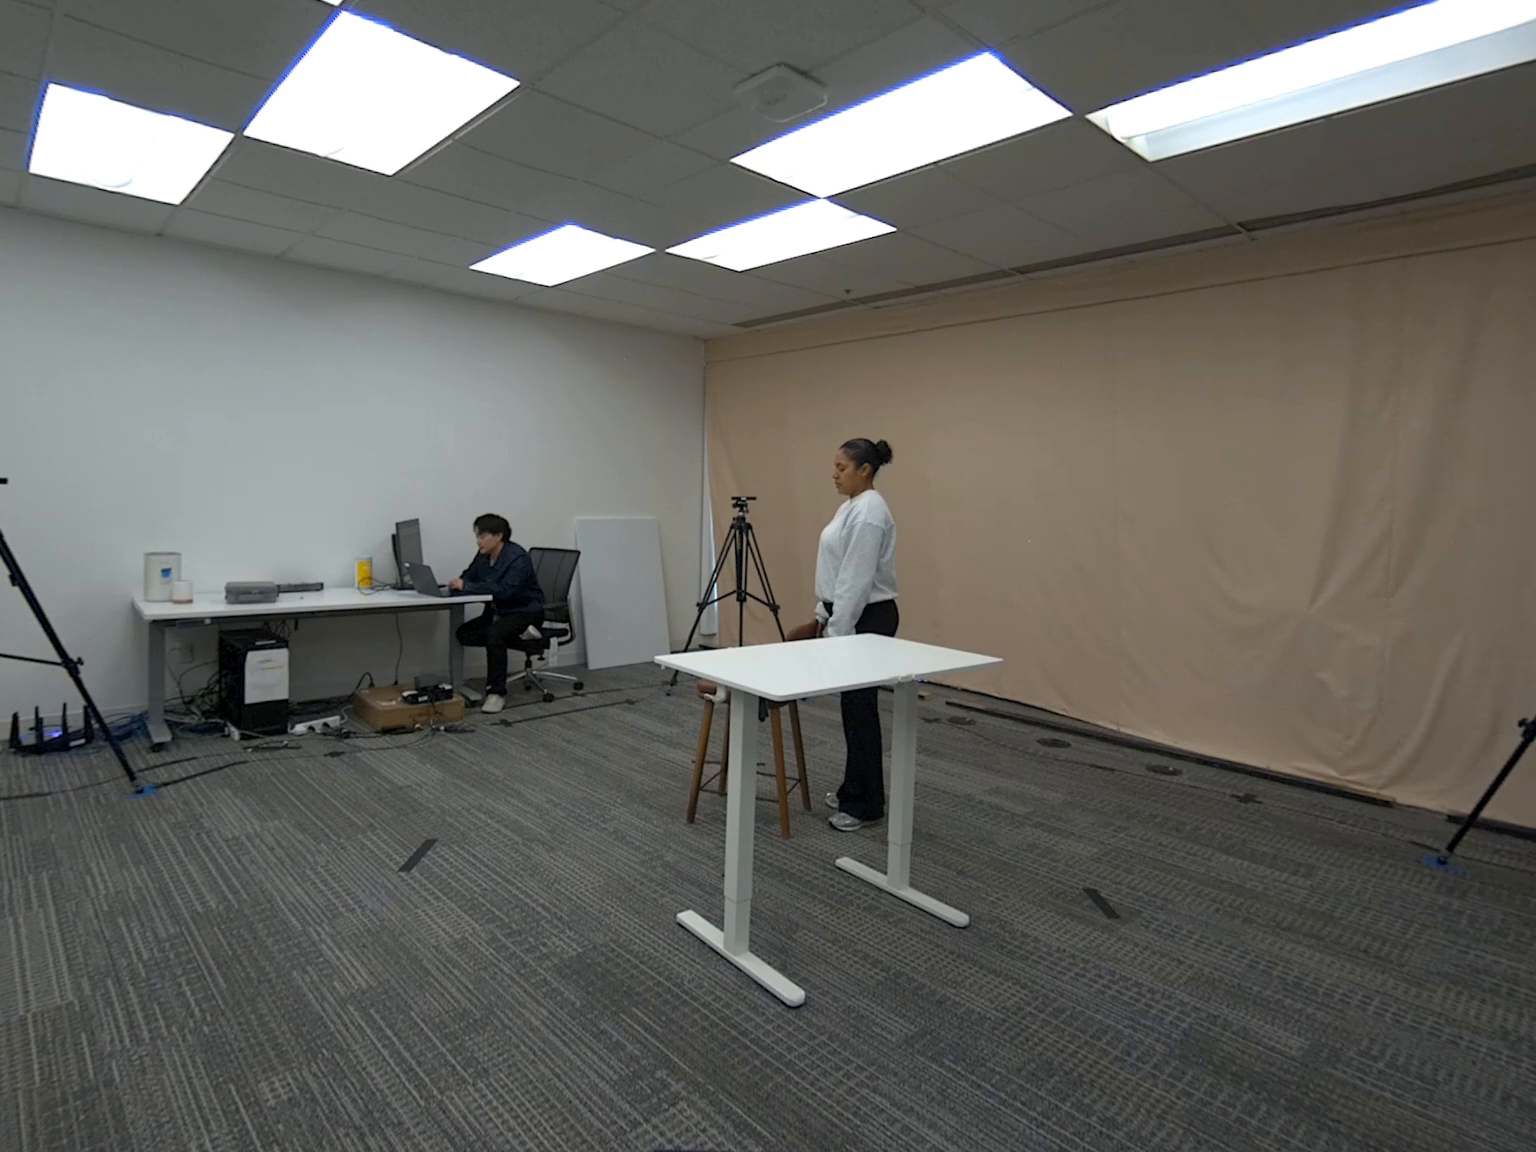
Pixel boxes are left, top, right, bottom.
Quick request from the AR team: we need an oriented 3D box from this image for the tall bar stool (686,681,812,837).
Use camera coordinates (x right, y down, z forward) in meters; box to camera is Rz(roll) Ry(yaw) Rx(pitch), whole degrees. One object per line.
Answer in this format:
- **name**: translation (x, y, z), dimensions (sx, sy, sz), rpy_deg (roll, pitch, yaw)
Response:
- **tall bar stool**: translation (-0.058, 0.624, 3.685), dimensions (0.475, 0.887, 0.450), rpy_deg (4, 4, 19)
